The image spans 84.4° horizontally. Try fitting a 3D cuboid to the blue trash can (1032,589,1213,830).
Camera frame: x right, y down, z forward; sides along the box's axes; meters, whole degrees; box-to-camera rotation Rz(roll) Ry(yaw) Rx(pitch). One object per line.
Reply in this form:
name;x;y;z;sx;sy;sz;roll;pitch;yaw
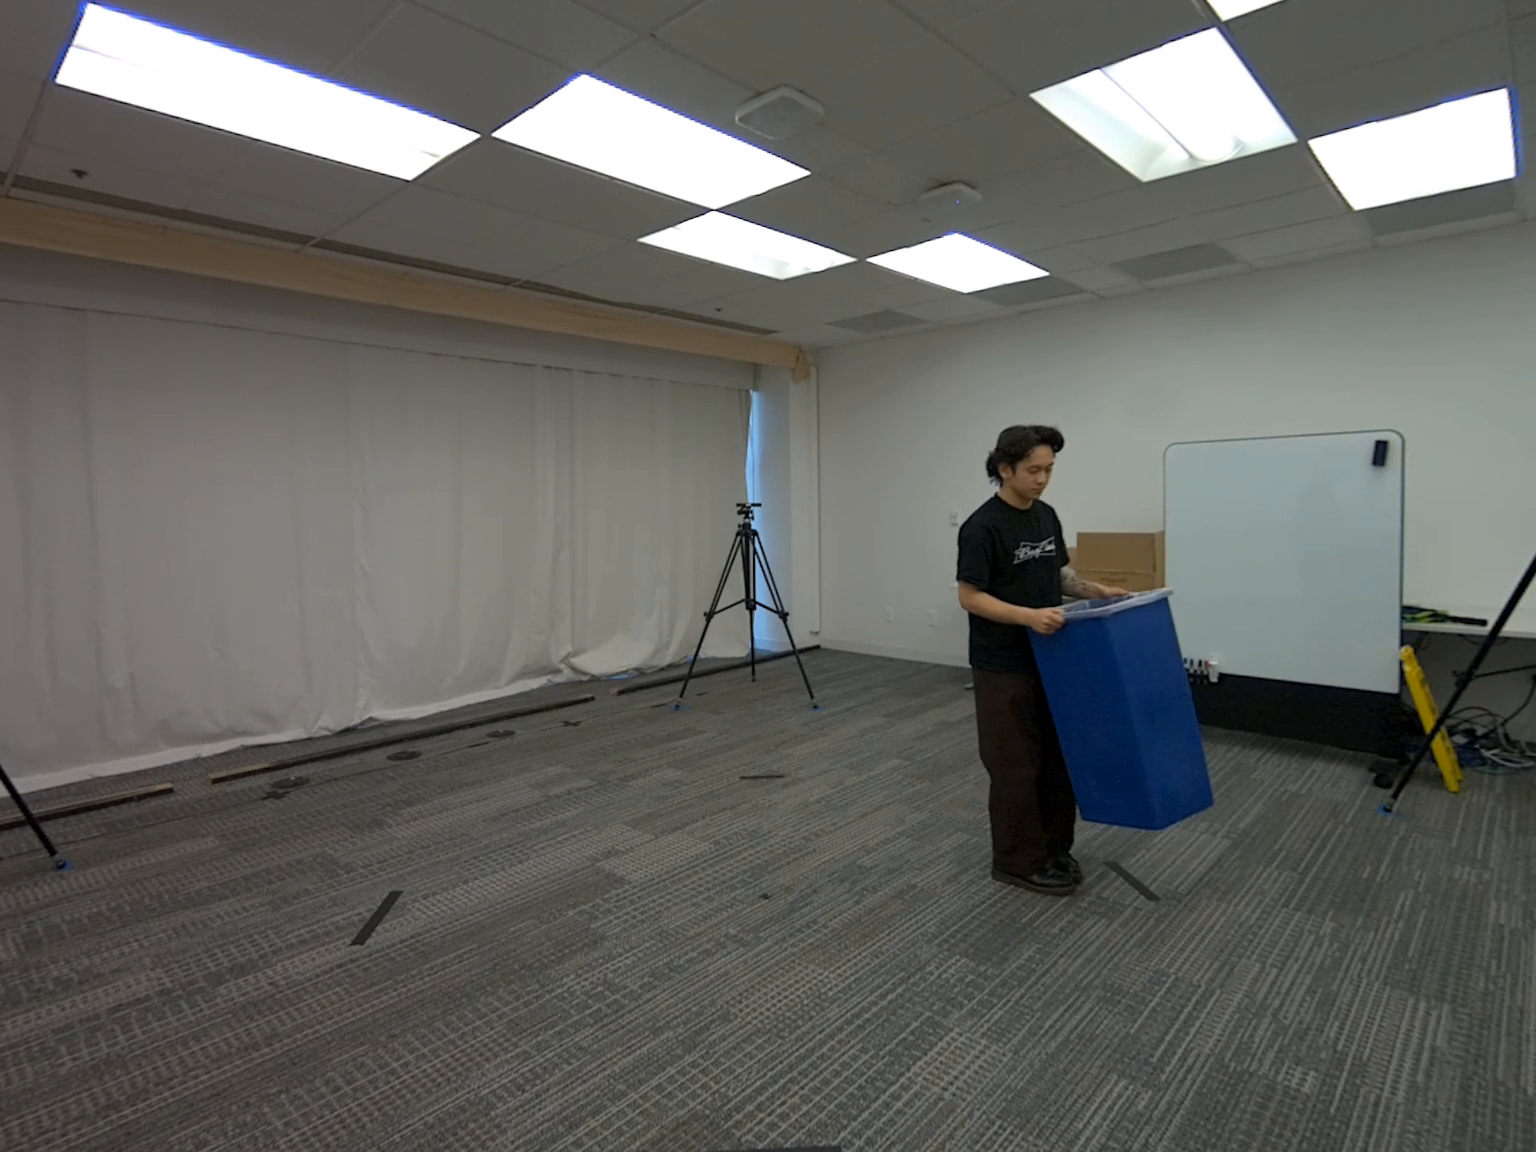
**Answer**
blue trash can;1.182;0.445;2.839;0.365;0.716;0.386;-10;-5;-31
